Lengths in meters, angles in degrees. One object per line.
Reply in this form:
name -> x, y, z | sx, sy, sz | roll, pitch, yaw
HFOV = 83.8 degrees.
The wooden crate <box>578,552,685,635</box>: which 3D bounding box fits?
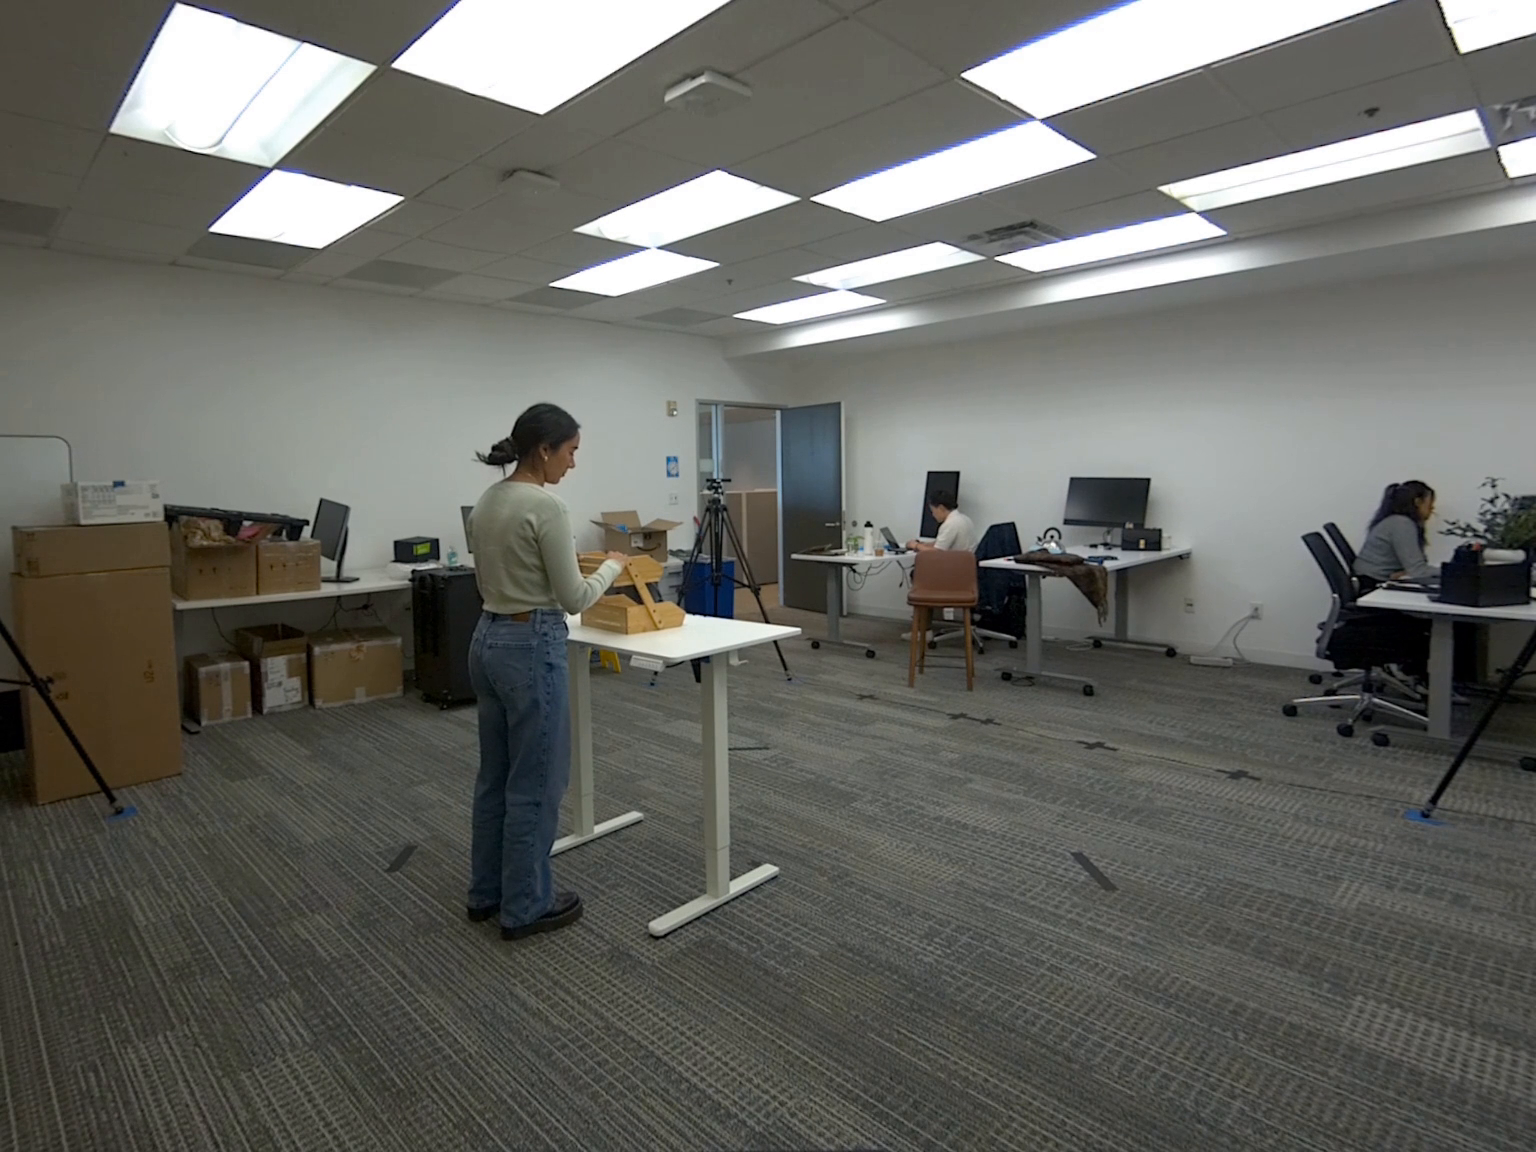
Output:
wooden crate -> -0.502, 0.047, 3.031 | 0.294, 0.272, 0.334 | -6, 7, -41
